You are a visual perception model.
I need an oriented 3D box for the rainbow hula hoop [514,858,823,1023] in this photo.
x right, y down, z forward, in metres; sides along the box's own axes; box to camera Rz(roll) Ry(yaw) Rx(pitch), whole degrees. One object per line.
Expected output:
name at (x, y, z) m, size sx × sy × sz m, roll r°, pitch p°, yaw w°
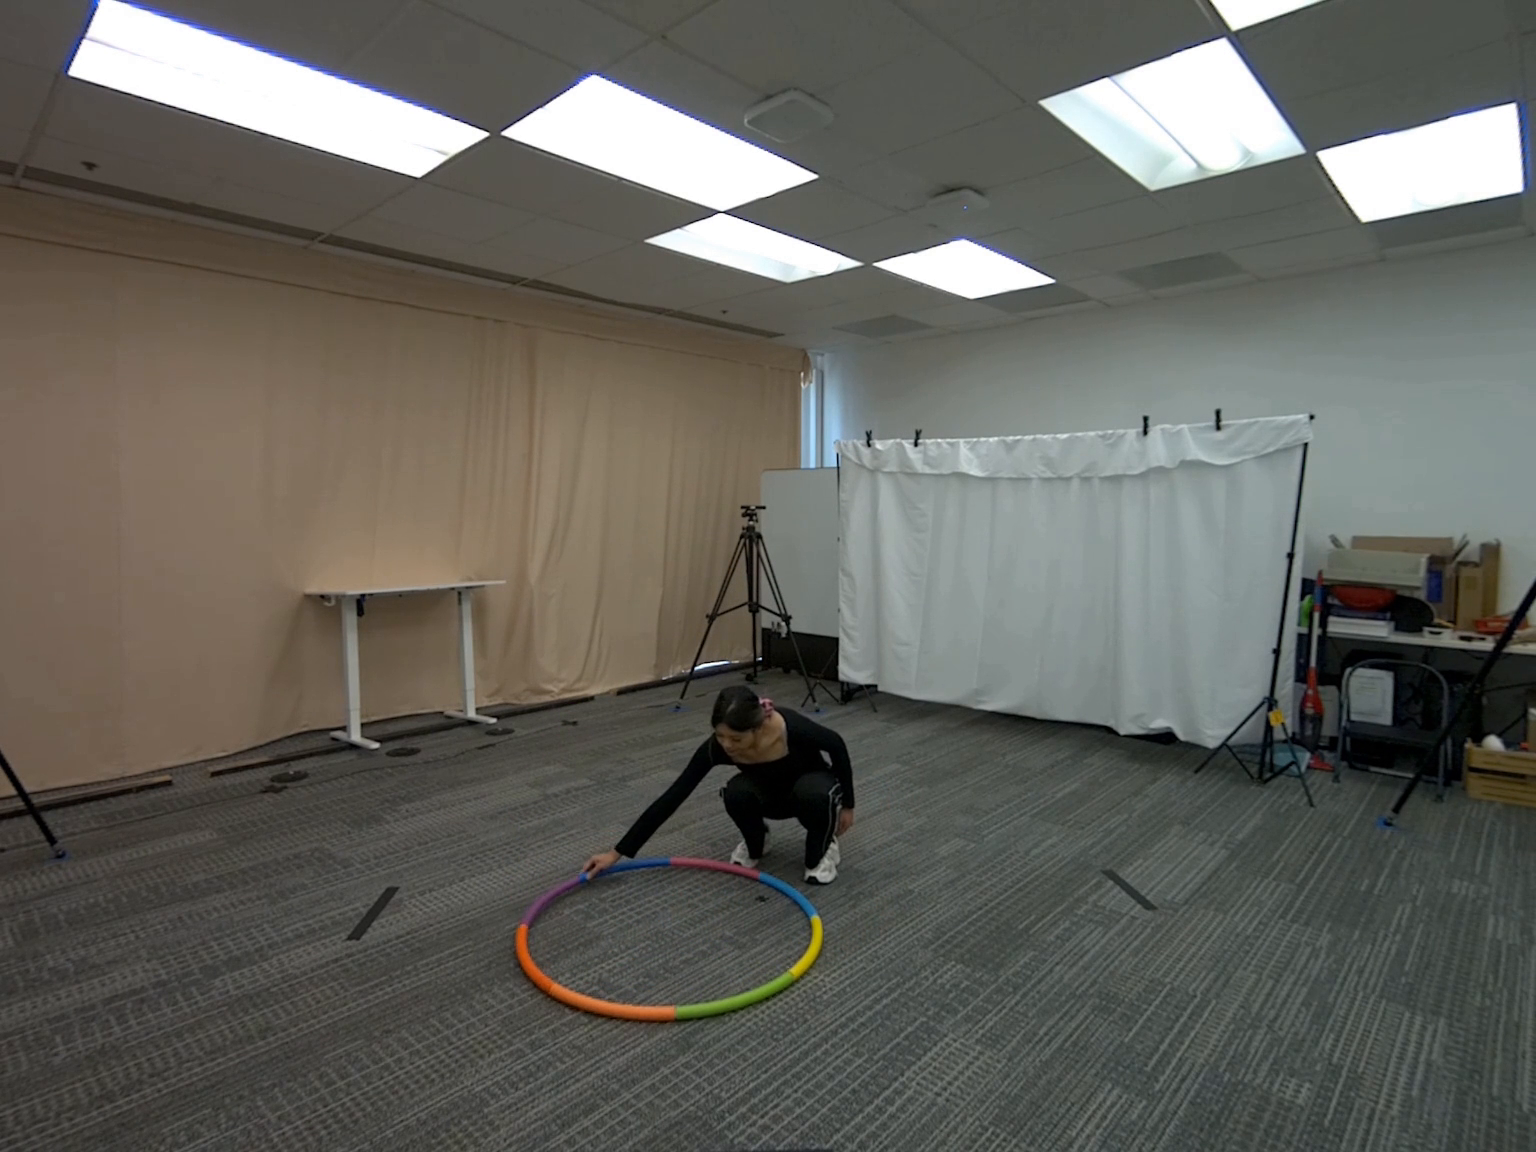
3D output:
rainbow hula hoop at (-0.315, 1.124, 2.756) m, size 0.978 × 0.035 × 0.982 m, roll 0°, pitch 5°, yaw -2°
